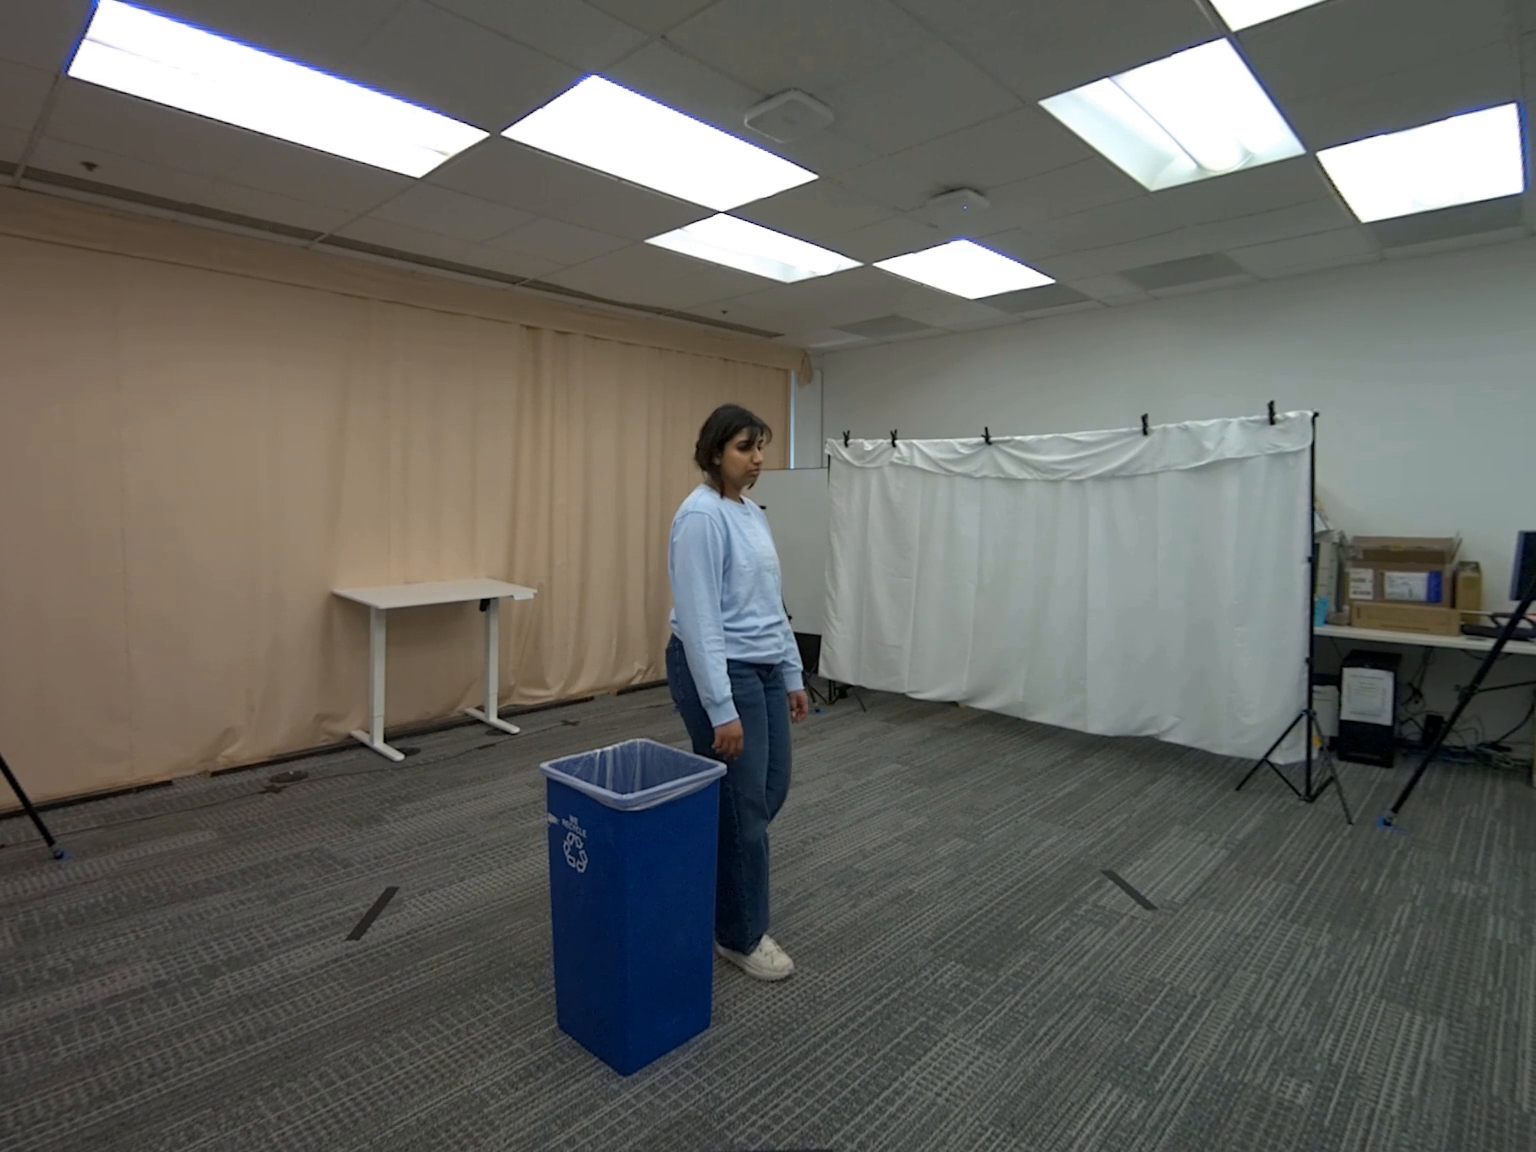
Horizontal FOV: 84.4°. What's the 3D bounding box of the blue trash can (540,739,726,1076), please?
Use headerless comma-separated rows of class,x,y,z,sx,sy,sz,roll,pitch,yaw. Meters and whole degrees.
blue trash can,-0.353,0.853,2.232,0.386,0.712,0.366,3,5,43
